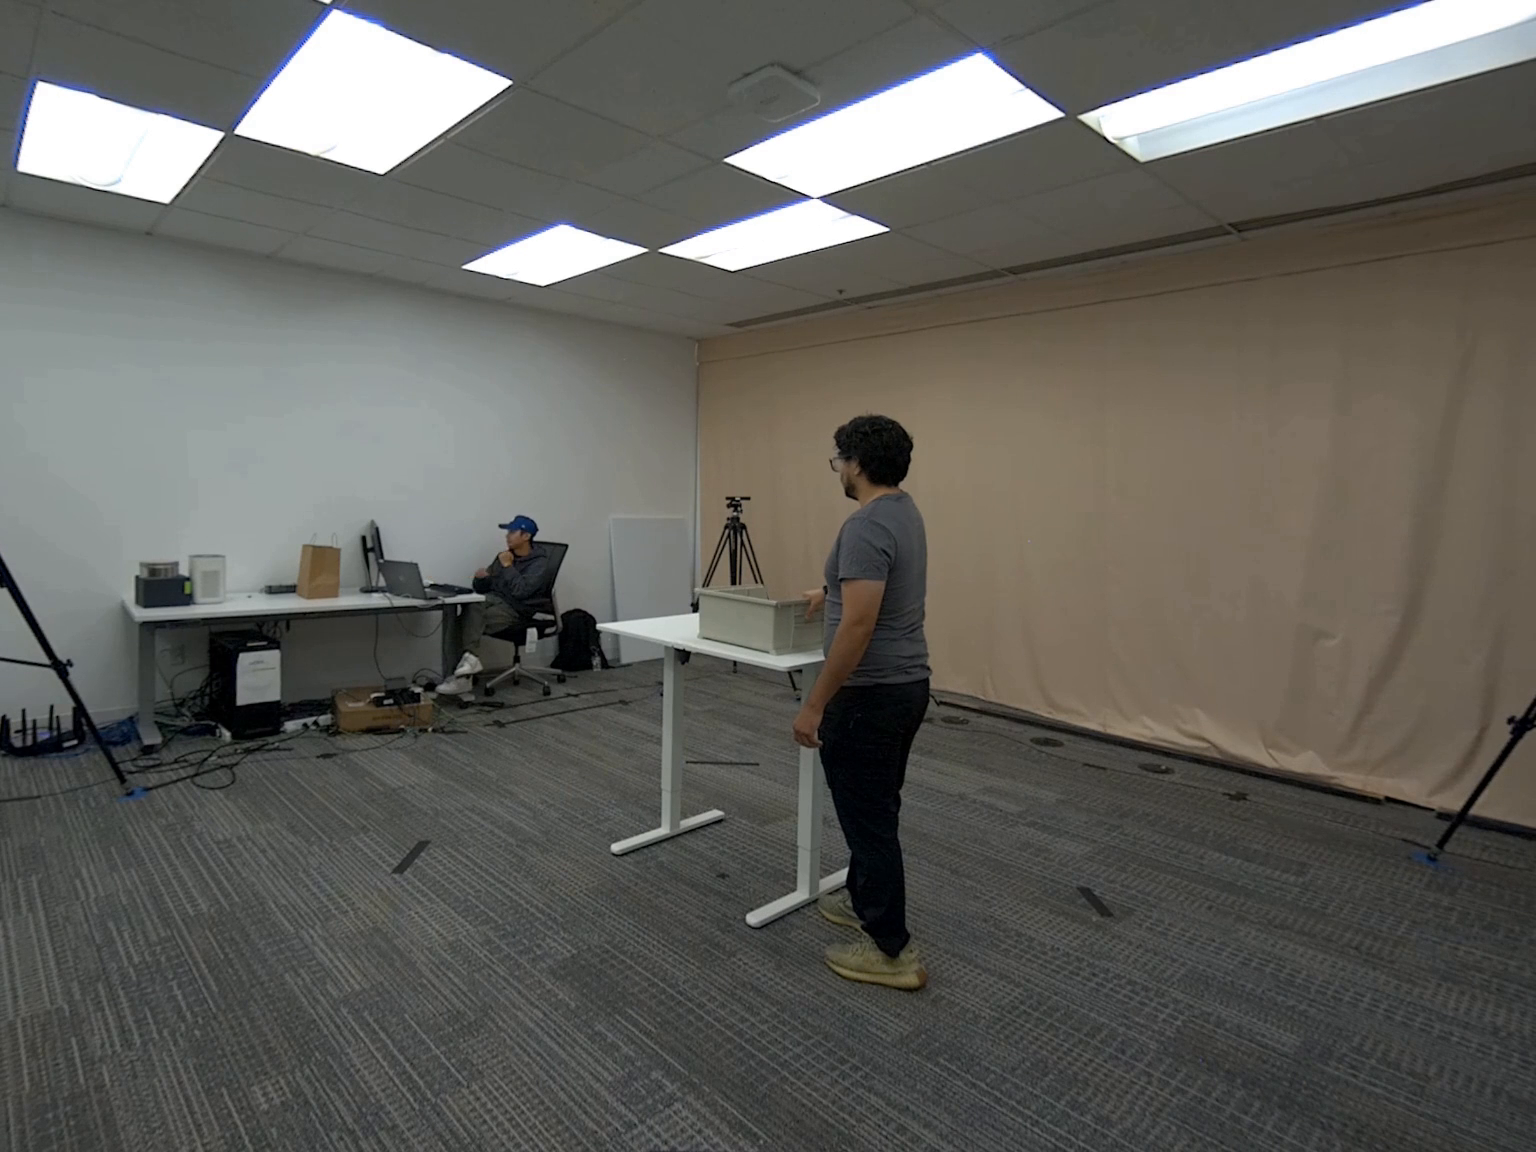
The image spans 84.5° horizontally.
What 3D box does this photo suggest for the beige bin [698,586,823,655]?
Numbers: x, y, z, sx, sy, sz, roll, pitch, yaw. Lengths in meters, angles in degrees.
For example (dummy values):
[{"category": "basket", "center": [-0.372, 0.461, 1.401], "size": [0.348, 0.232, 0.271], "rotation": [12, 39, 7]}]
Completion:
[{"category": "beige bin", "center": [0.006, 0.147, 3.016], "size": [0.369, 0.188, 0.433], "rotation": [-6, 9, -42]}]
